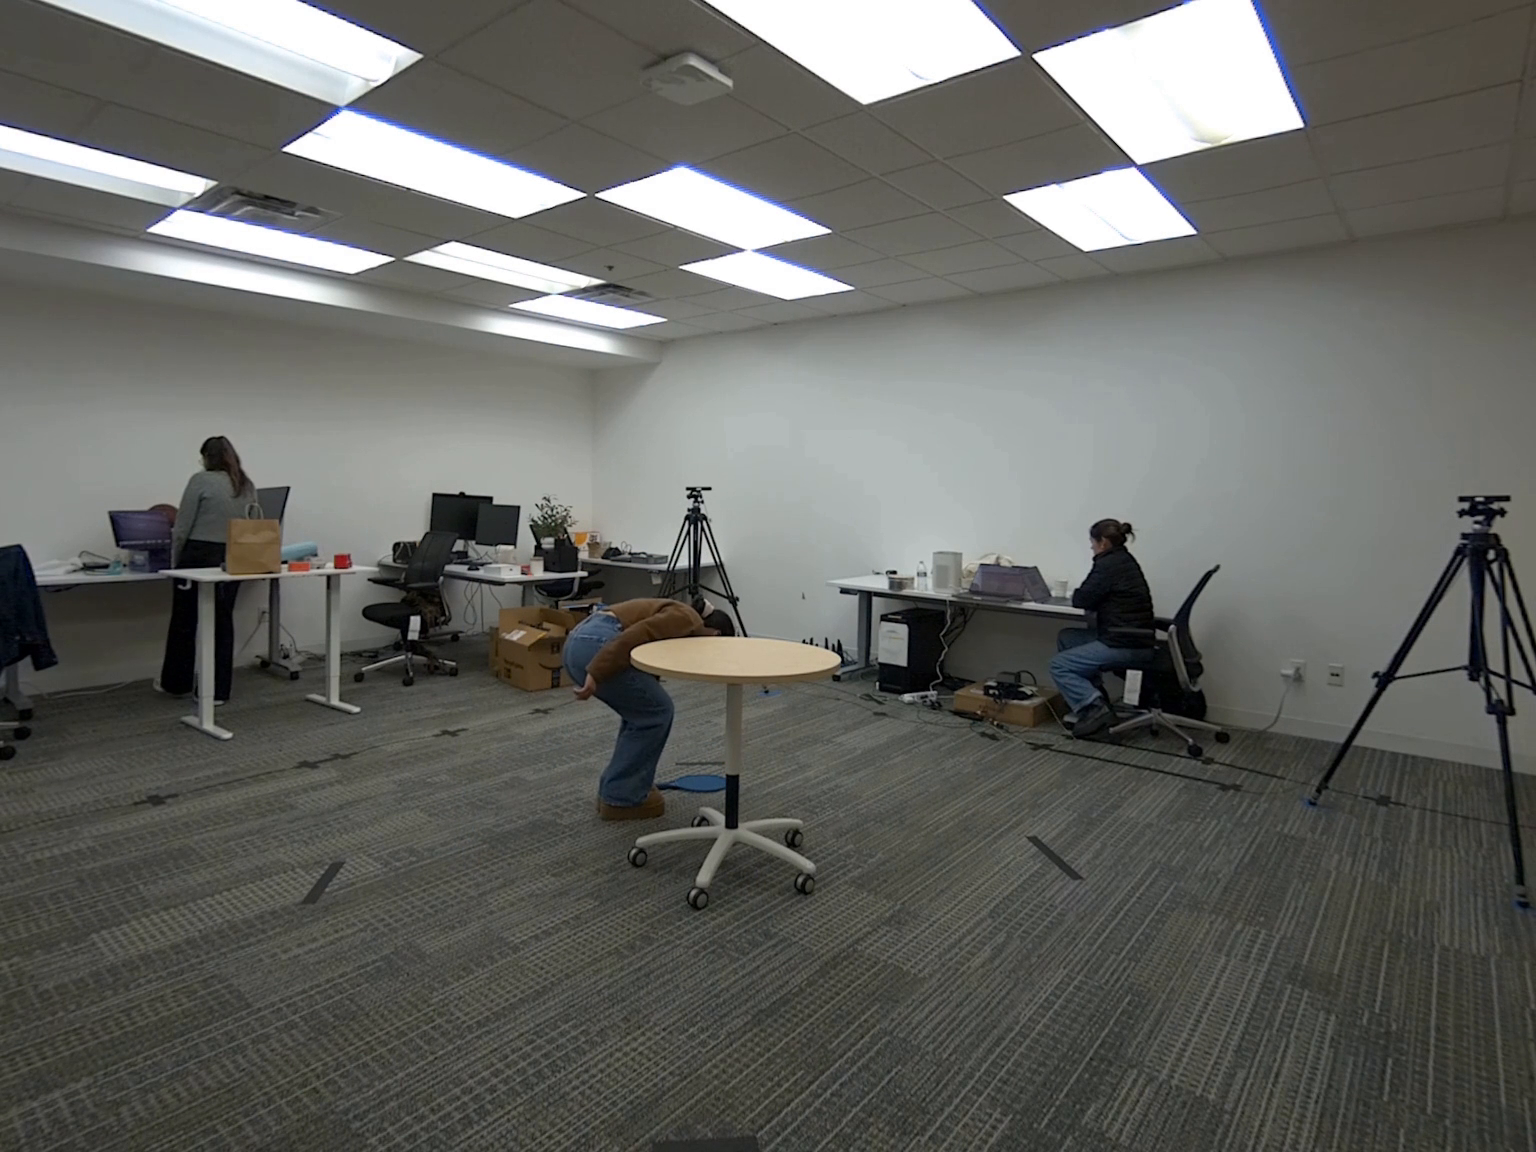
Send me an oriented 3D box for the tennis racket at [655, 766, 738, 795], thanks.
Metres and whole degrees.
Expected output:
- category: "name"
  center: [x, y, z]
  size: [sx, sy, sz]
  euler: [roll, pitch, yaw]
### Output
- category: "tennis racket"
  center: [-0.388, 0.961, 3.953]
  size: [0.424, 0.031, 0.219]
  euler: [0, 5, -21]
